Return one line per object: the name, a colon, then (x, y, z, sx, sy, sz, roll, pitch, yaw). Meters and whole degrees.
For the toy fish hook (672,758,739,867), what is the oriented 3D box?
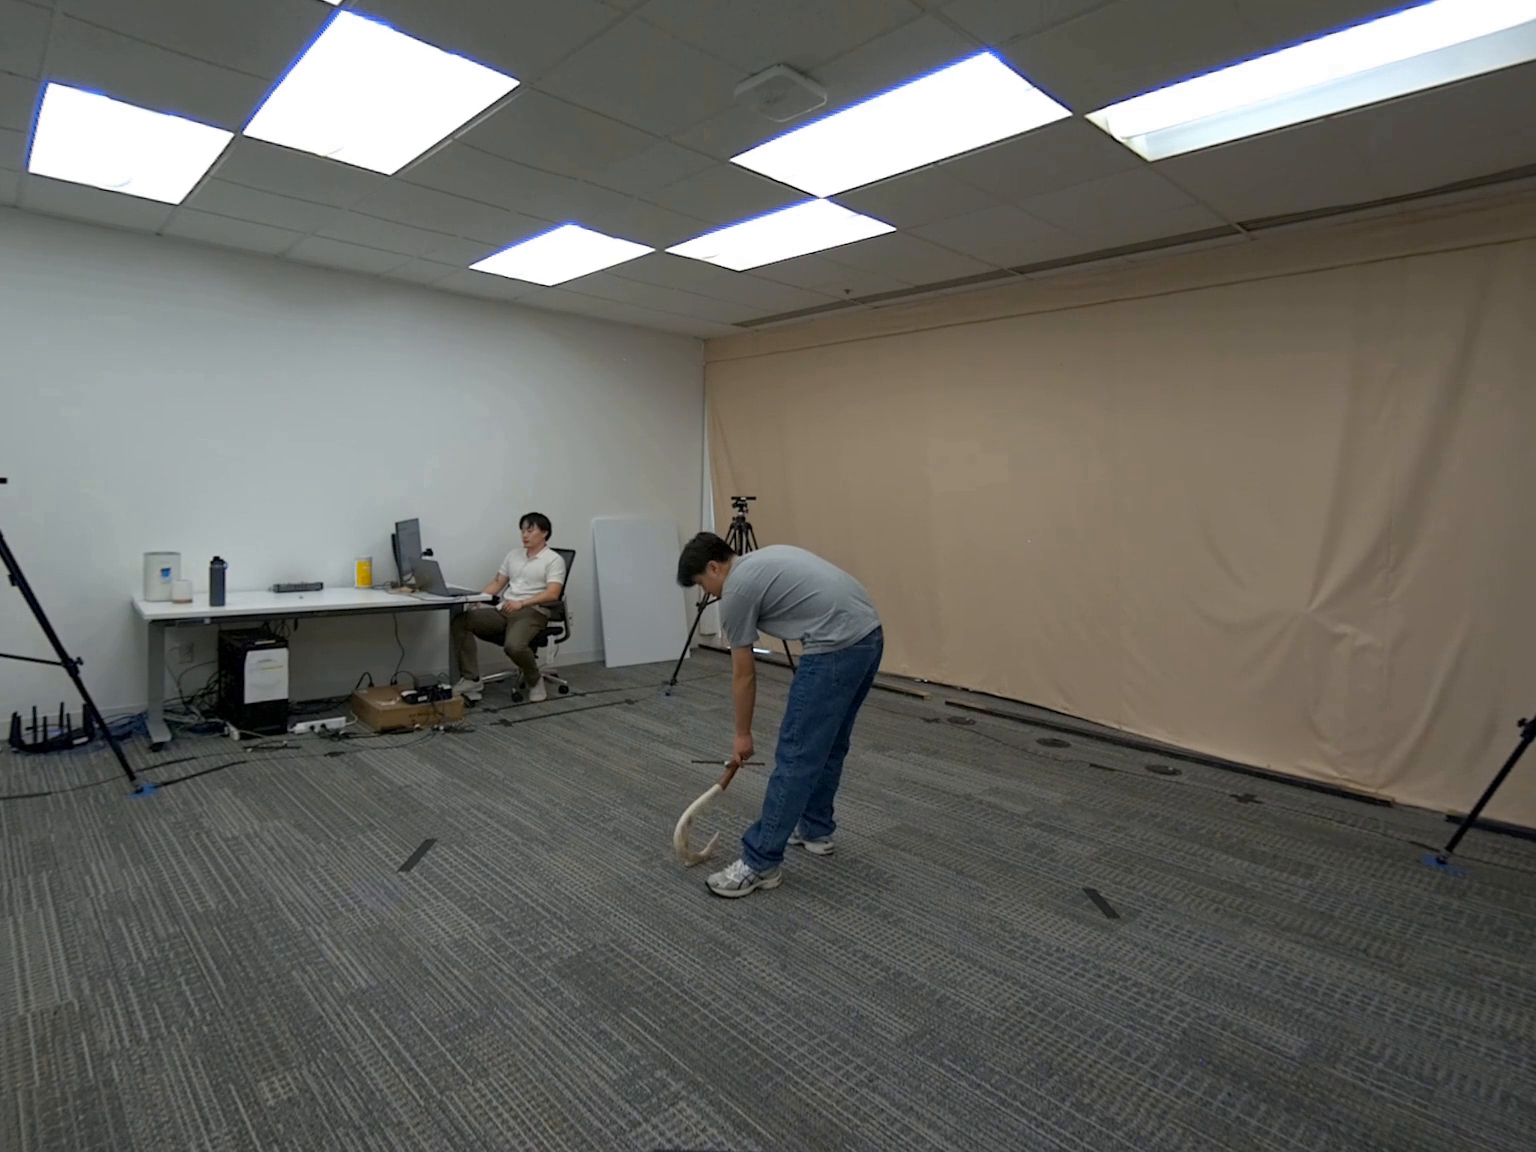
toy fish hook: (-0.209, 0.901, 3.292, 0.049, 0.219, 0.507, 3, 39, 36)
